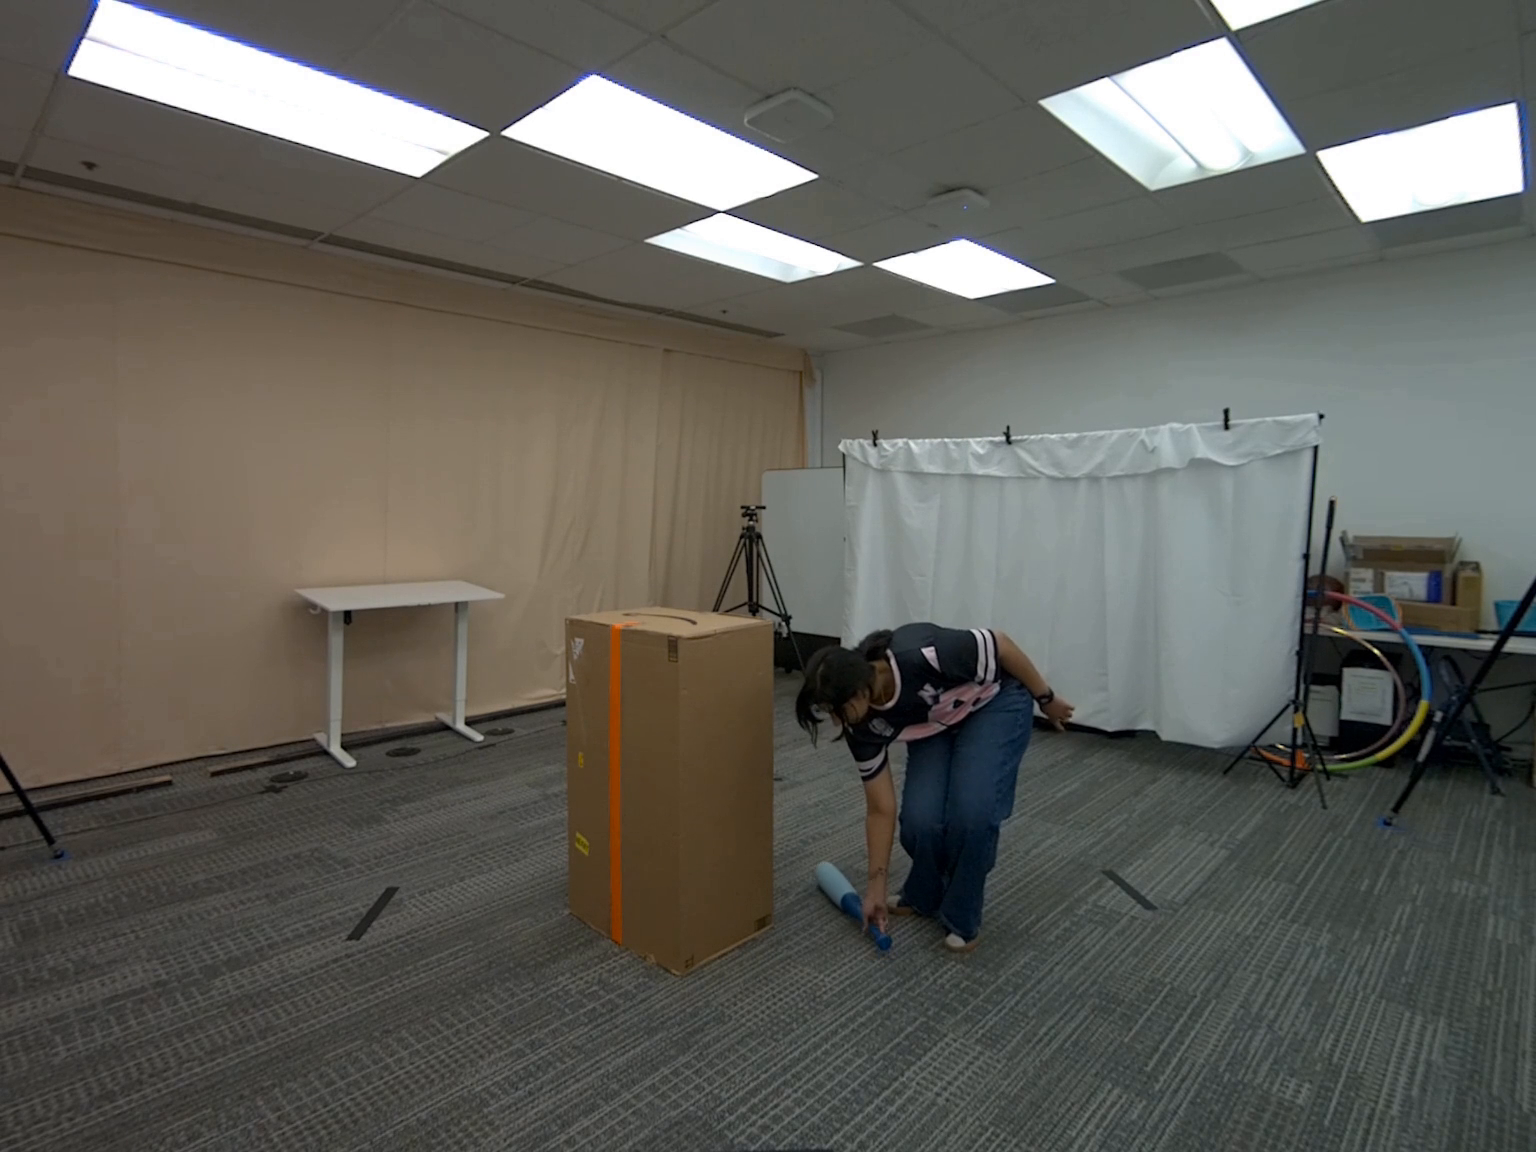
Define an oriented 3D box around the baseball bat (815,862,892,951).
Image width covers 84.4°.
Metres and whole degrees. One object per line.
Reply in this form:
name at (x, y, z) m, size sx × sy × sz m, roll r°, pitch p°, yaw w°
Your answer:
baseball bat at (0.286, 1.108, 2.836) m, size 0.088 × 0.089 × 0.553 m, roll -1°, pitch 5°, yaw -16°
